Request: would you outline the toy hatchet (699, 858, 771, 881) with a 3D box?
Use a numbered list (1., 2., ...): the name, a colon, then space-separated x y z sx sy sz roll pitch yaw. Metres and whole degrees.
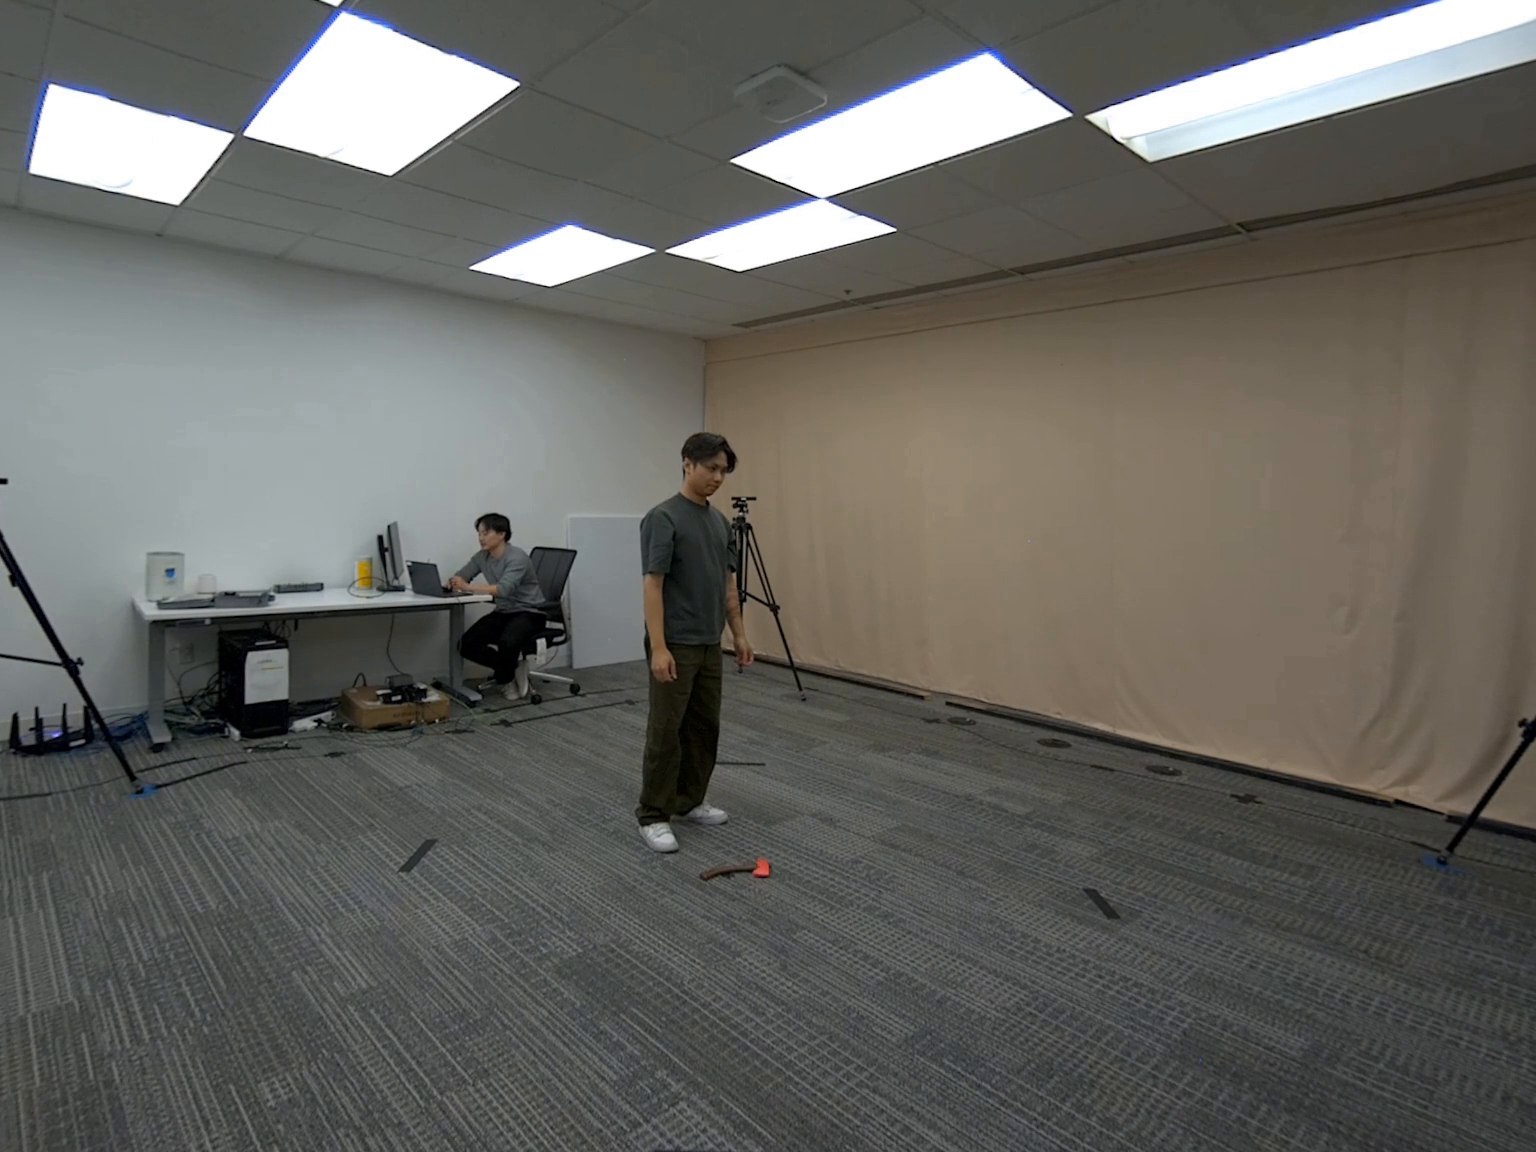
1. toy hatchet: -0.110 1.089 3.107 0.265 0.029 0.134 -5 10 -33
